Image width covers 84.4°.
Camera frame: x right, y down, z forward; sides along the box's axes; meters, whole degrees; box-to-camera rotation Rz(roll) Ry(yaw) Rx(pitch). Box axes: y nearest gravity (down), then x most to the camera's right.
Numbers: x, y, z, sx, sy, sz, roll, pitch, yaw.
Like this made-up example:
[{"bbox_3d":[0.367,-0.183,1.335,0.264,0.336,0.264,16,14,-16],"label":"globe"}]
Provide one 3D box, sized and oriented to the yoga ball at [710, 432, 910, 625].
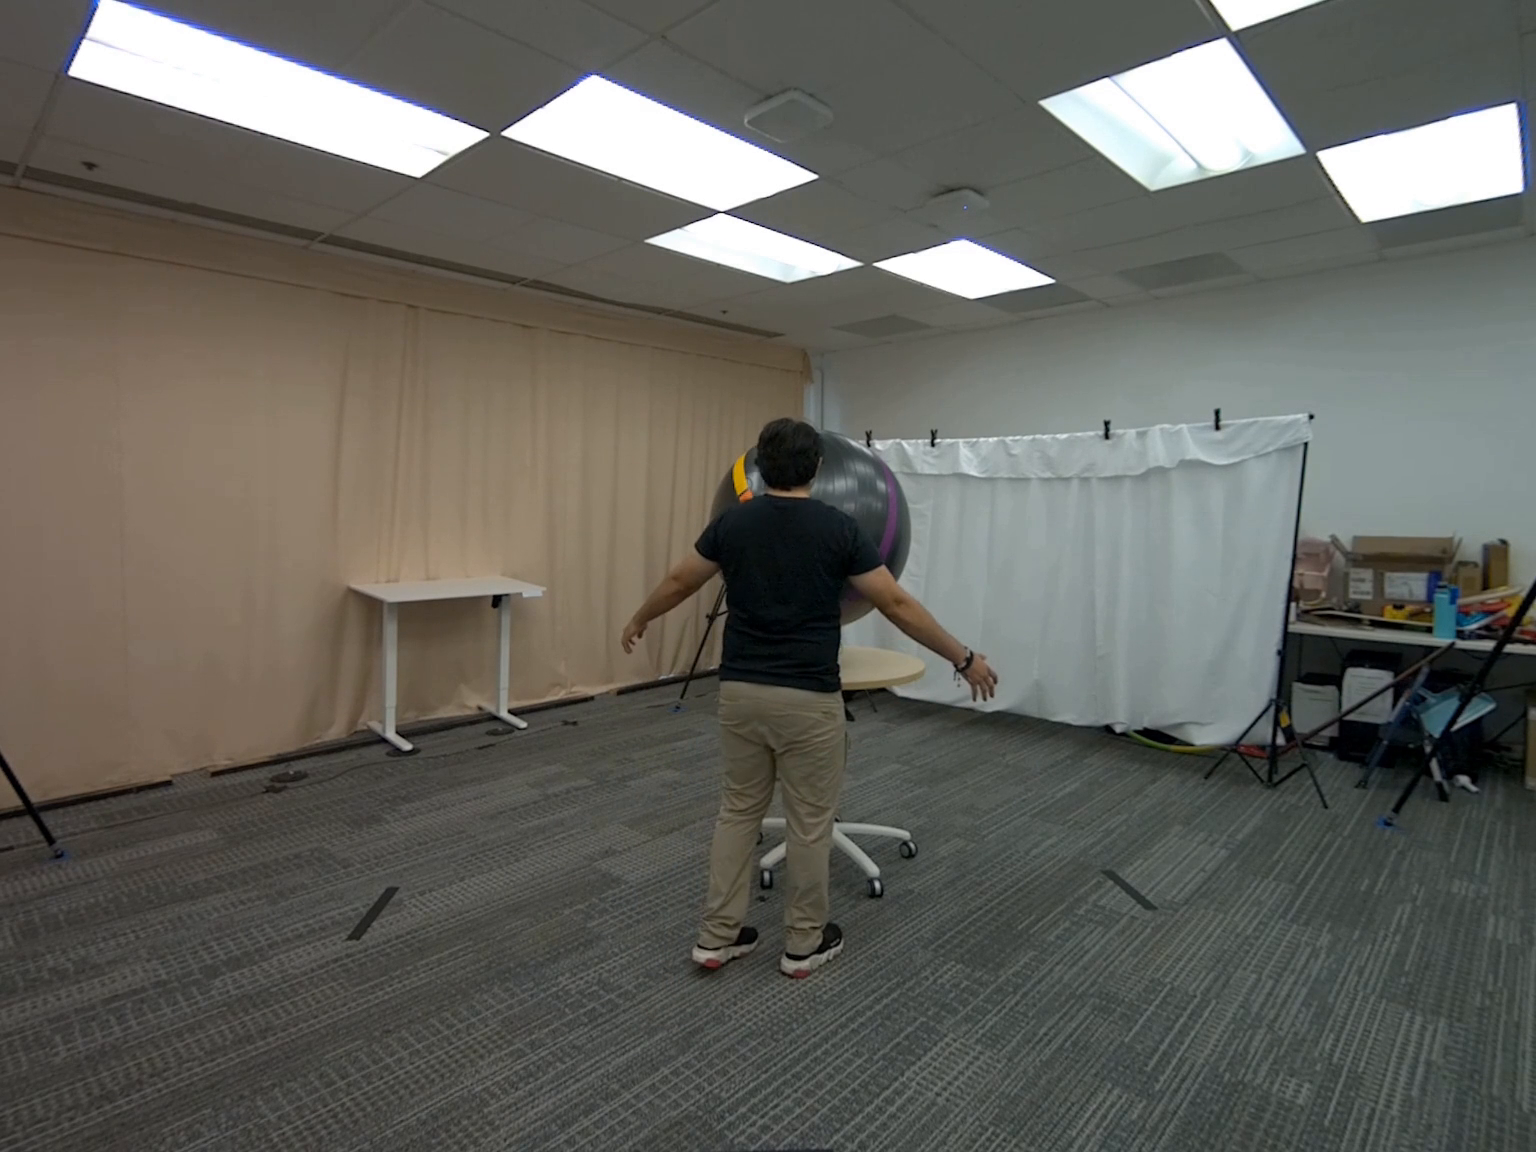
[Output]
[{"bbox_3d":[0.157,-0.166,3.178,0.757,0.756,0.760,0,4,-2],"label":"yoga ball"}]
